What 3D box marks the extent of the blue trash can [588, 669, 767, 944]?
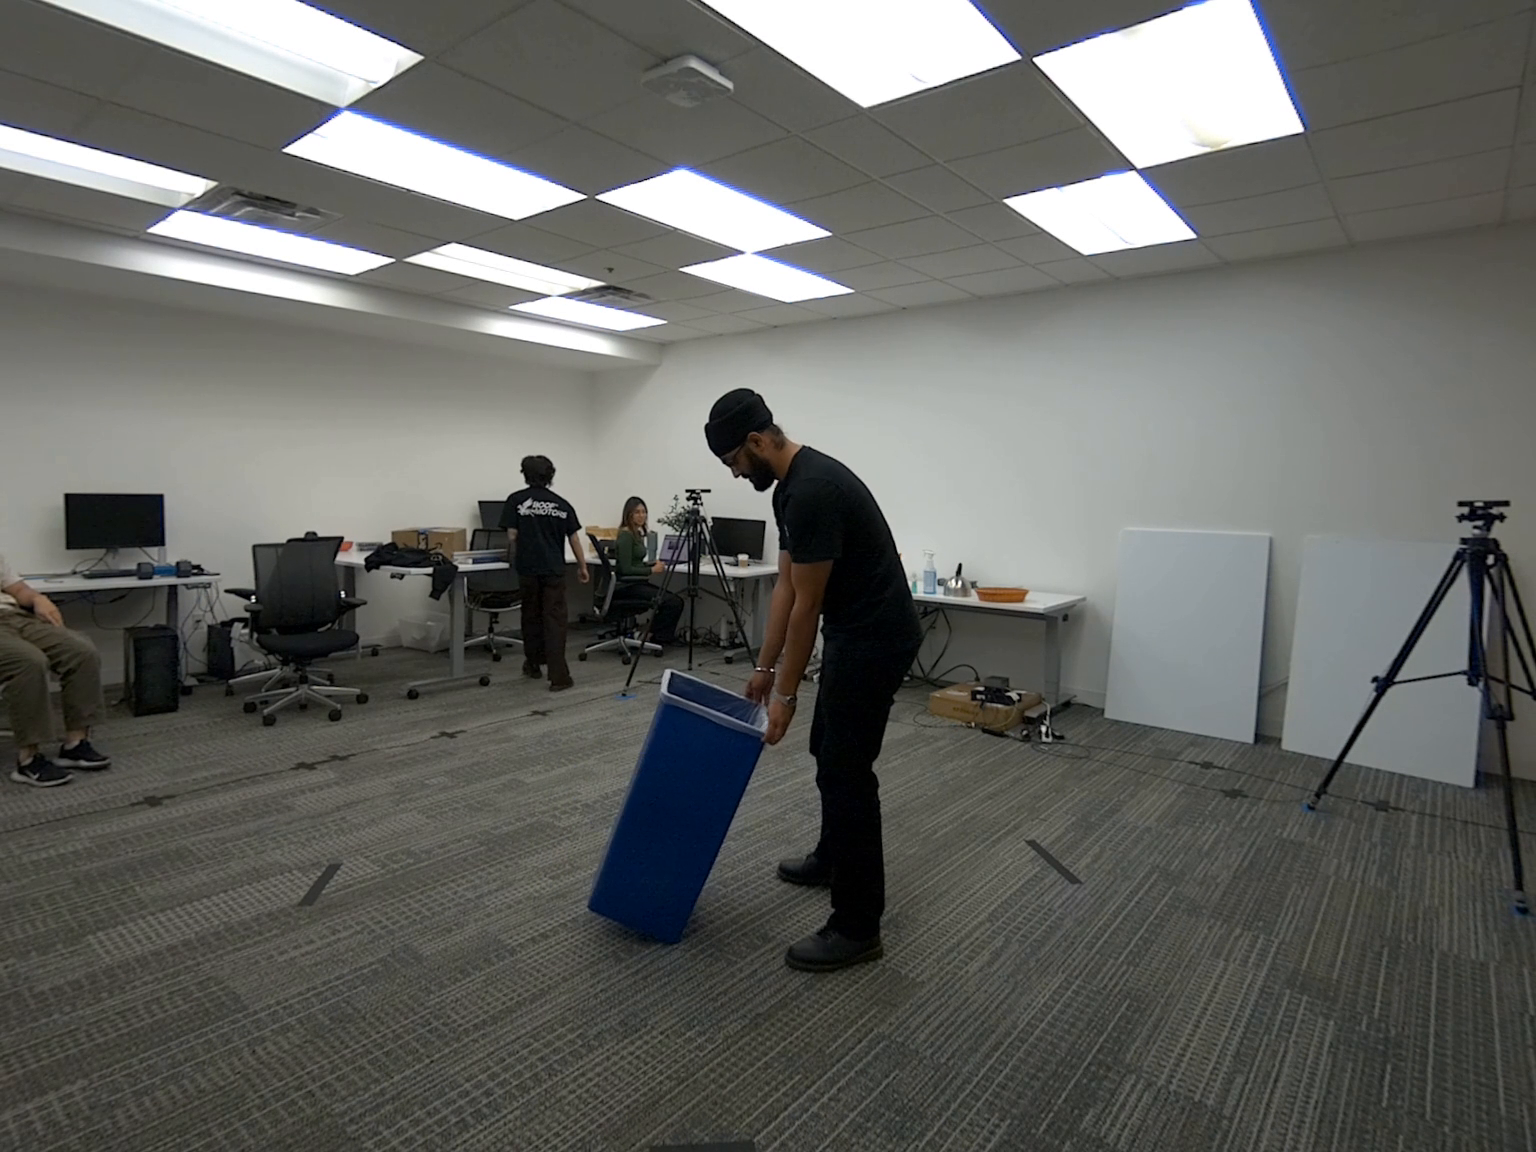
[{"bbox_3d":[-0.293,0.726,2.718,0.372,0.712,0.380,21,2,-5],"label":"blue trash can"}]
